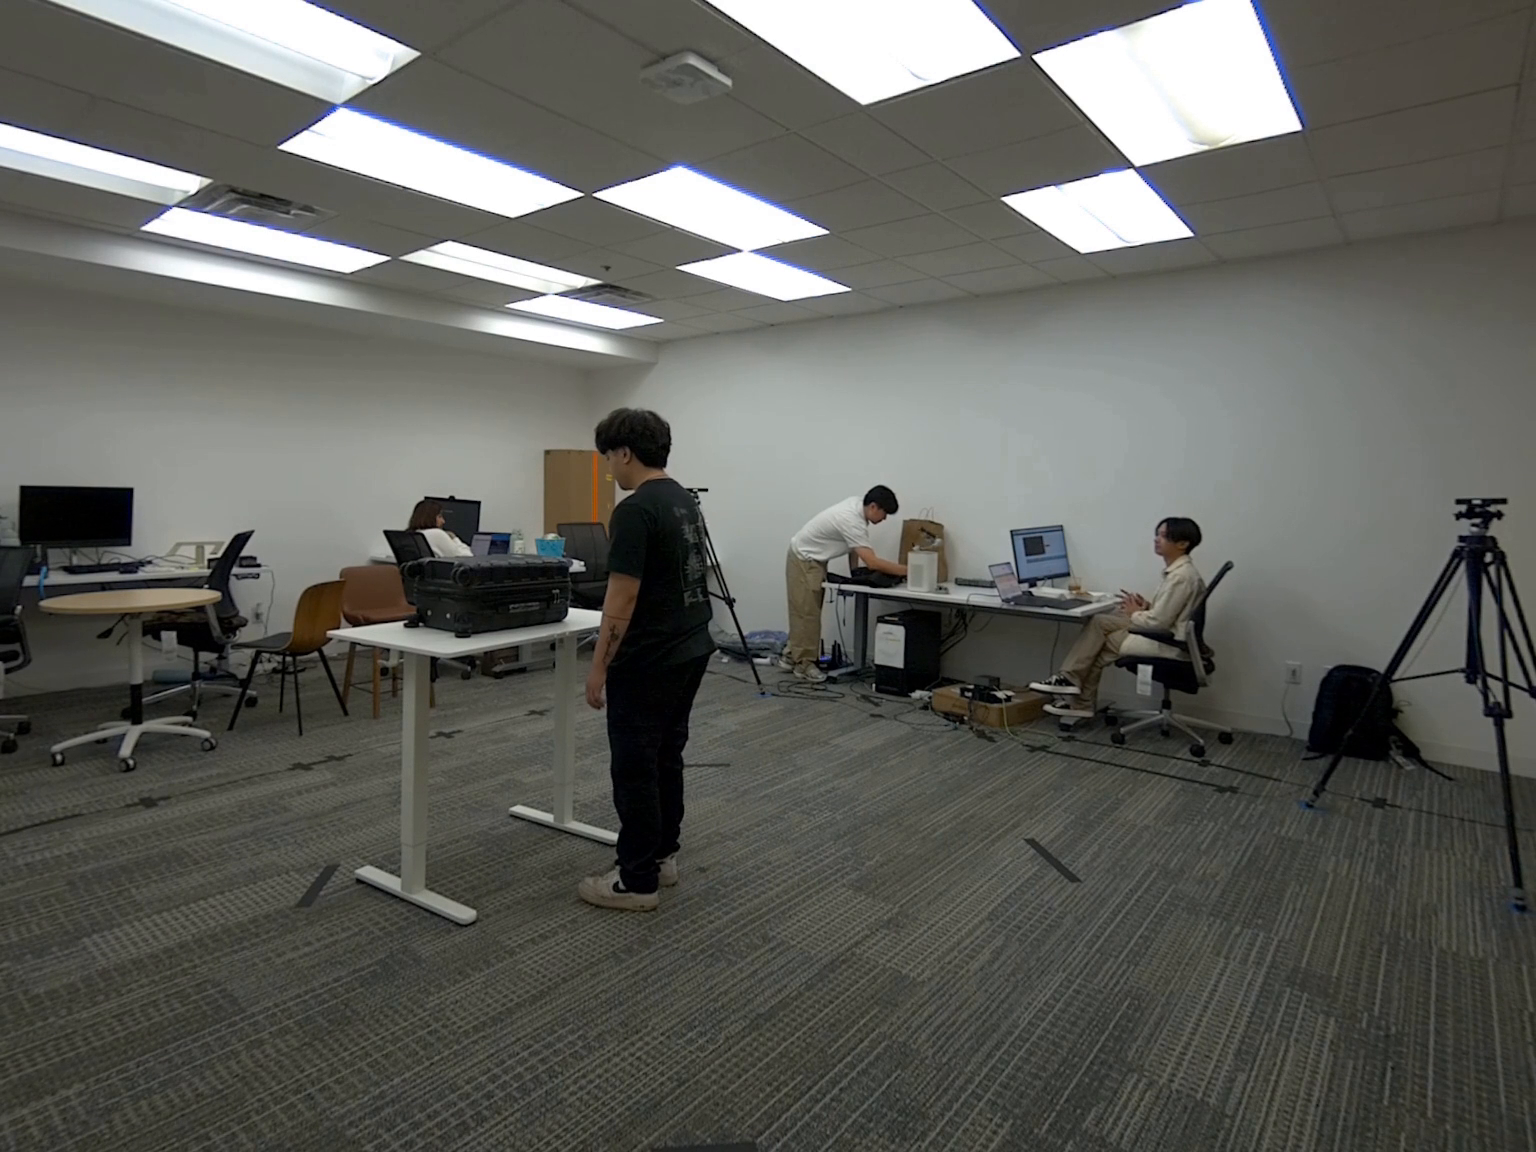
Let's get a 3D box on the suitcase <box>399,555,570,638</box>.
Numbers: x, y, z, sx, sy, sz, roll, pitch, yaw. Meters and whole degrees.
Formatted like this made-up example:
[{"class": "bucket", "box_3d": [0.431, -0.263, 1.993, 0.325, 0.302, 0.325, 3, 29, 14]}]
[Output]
[{"class": "suitcase", "box_3d": [-1.029, 0.059, 3.123, 0.387, 0.247, 0.534, 4, 6, 35]}]
